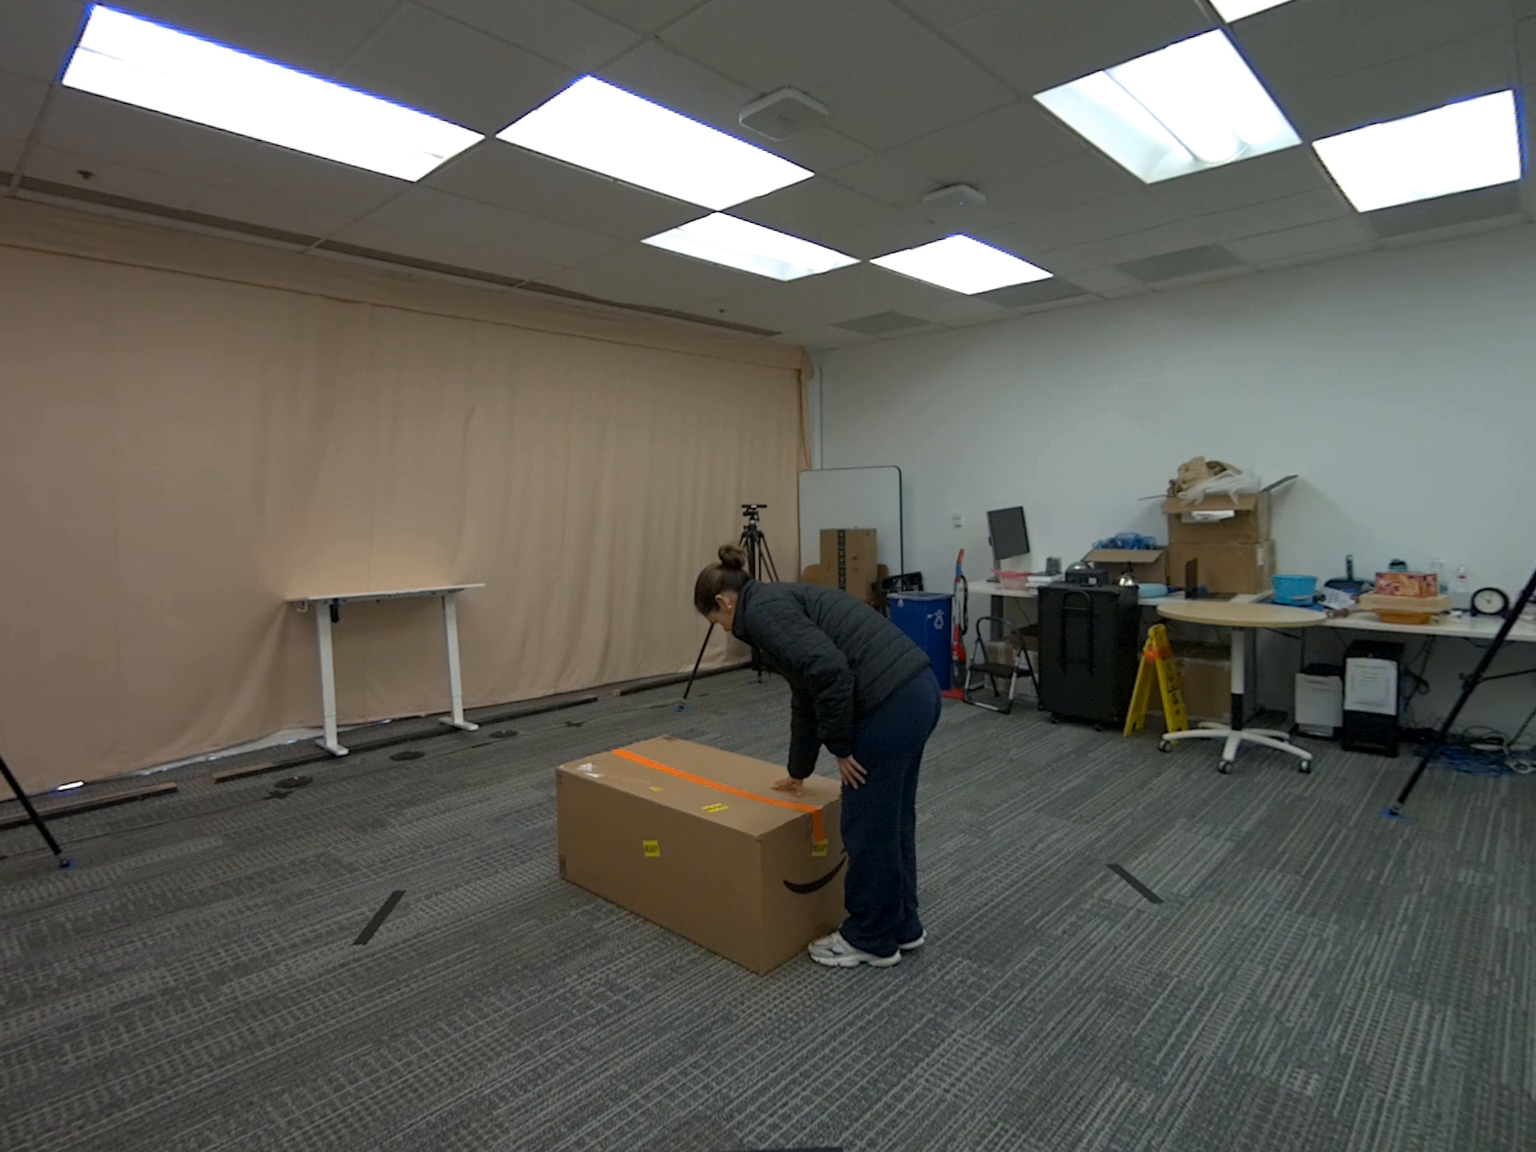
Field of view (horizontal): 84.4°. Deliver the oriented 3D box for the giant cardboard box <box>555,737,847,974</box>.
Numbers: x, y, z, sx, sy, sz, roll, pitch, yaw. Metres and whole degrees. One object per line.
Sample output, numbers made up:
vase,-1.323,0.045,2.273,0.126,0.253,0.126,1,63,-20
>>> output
giant cardboard box,-0.212,0.932,3.031,1.061,0.446,0.566,2,4,42
